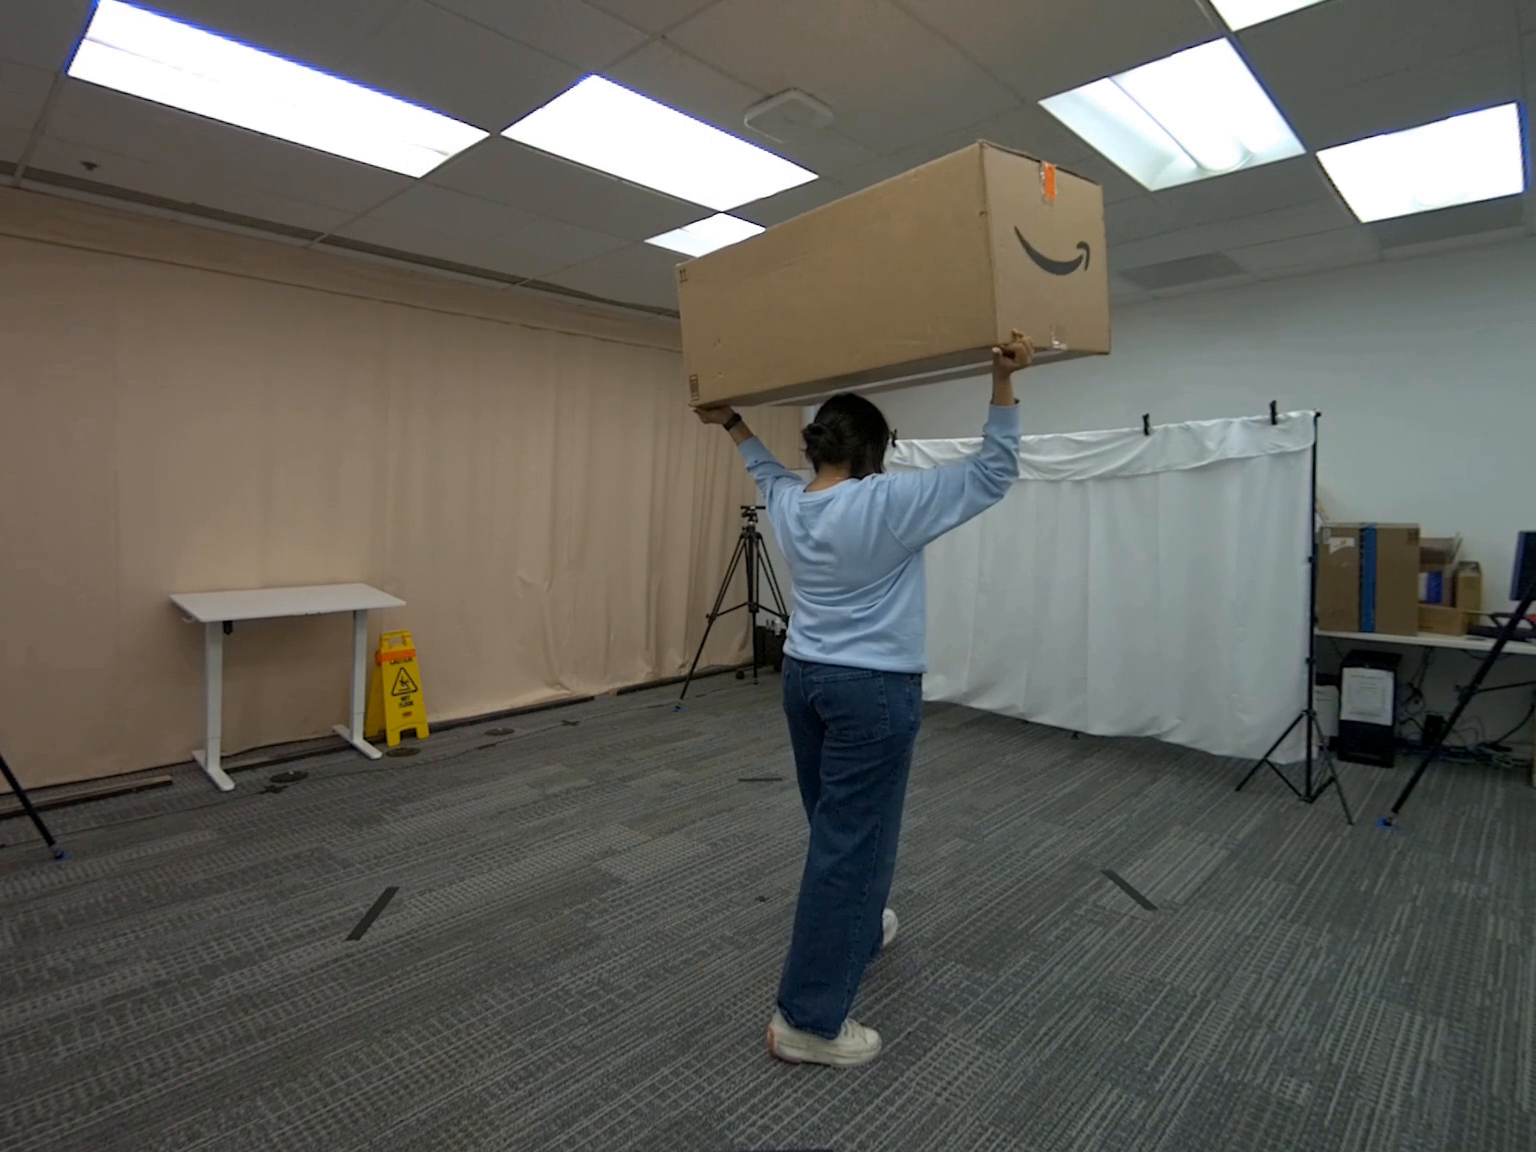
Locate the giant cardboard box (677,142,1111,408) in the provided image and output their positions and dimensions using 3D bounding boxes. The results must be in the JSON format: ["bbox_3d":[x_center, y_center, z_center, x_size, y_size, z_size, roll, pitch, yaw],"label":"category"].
[{"bbox_3d":[0.306,-0.746,2.332,0.561,0.425,1.059,-10,8,-43],"label":"giant cardboard box"}]
